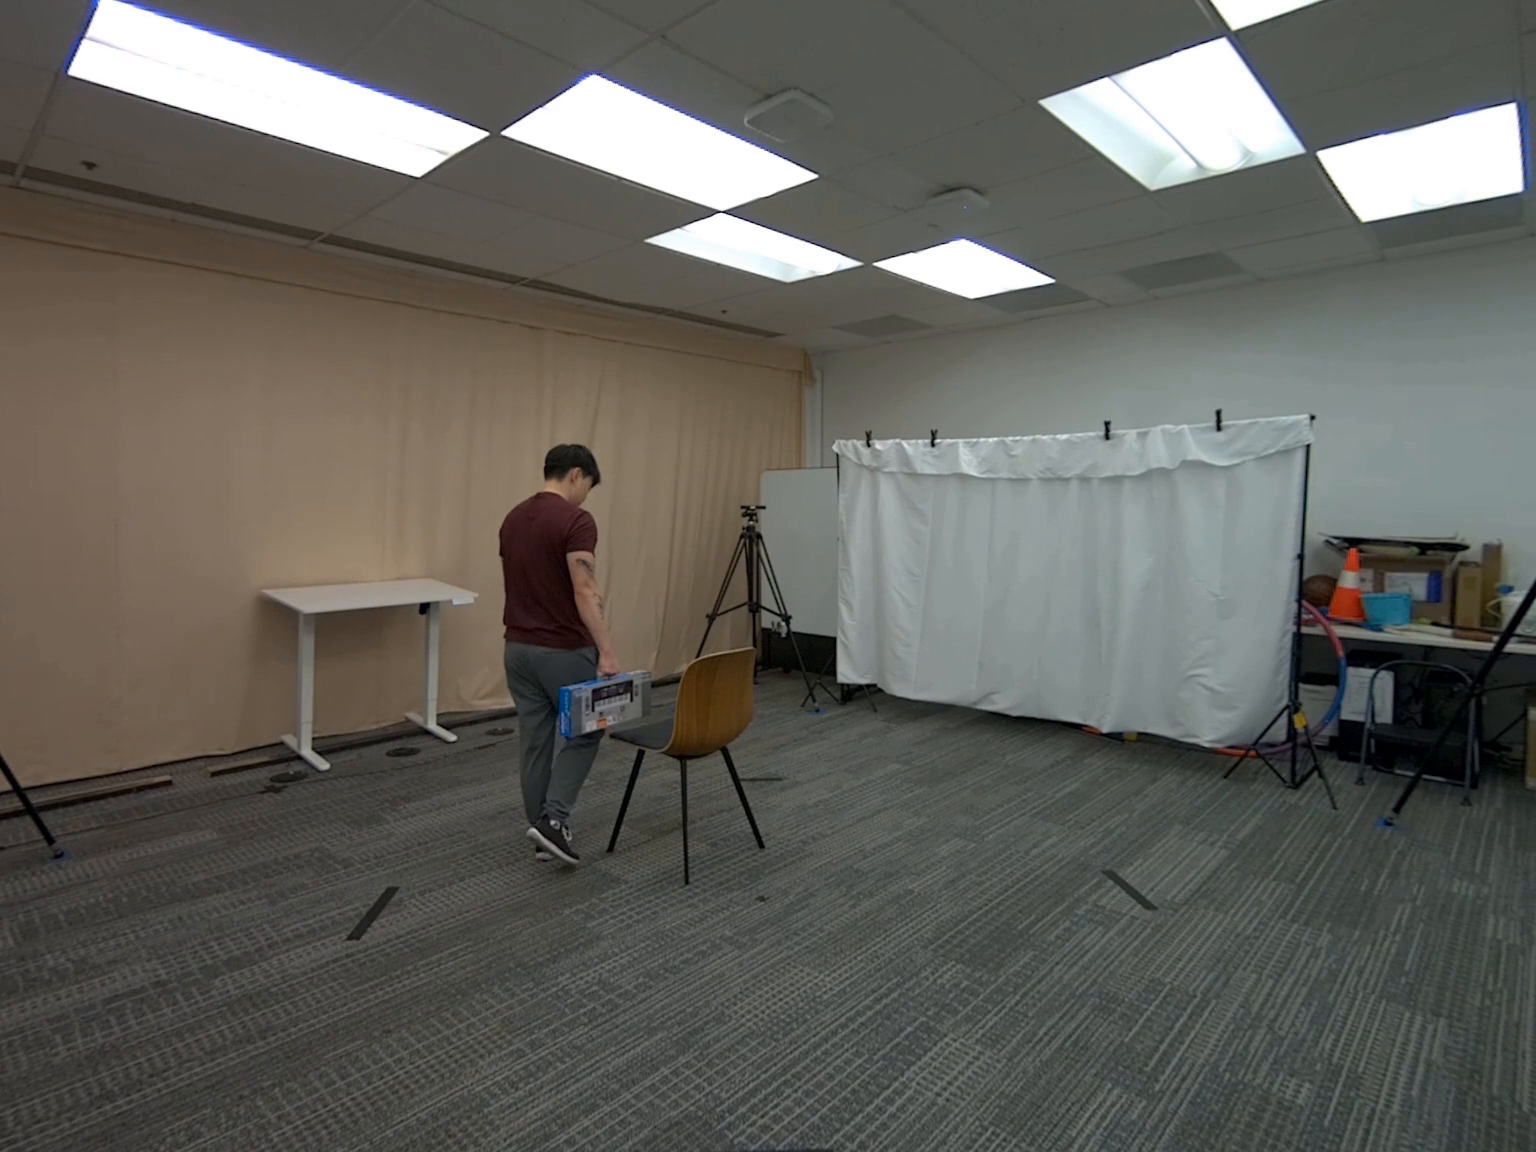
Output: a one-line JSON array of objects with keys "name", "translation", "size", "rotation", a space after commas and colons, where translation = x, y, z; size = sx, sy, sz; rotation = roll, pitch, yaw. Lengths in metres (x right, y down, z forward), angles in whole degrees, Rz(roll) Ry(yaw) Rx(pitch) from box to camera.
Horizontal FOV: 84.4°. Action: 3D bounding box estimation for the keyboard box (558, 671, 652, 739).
[{"name": "keyboard box", "translation": [-0.599, 0.475, 3.148], "size": [0.061, 0.176, 0.424], "rotation": [2, 4, 33]}]
